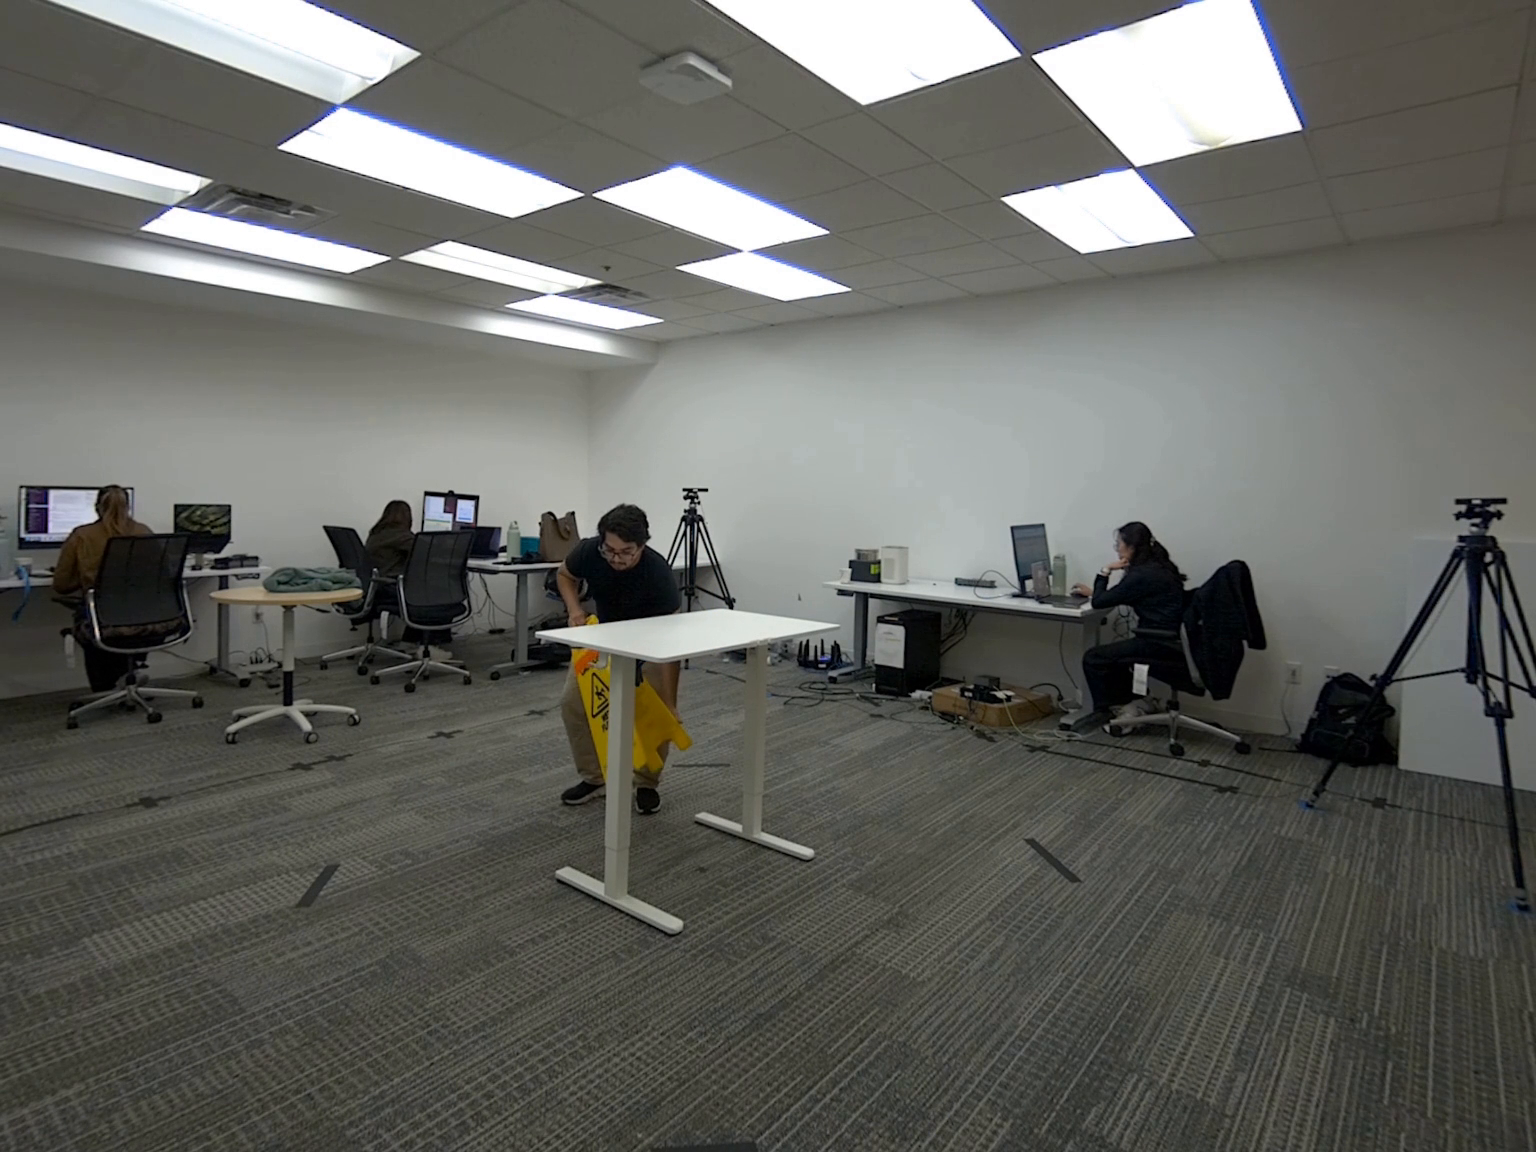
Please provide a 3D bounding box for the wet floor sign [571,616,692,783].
[{"bbox_3d":[-0.621,0.477,3.413,0.282,0.662,0.283,-8,-28,-50],"label":"wet floor sign"}]
